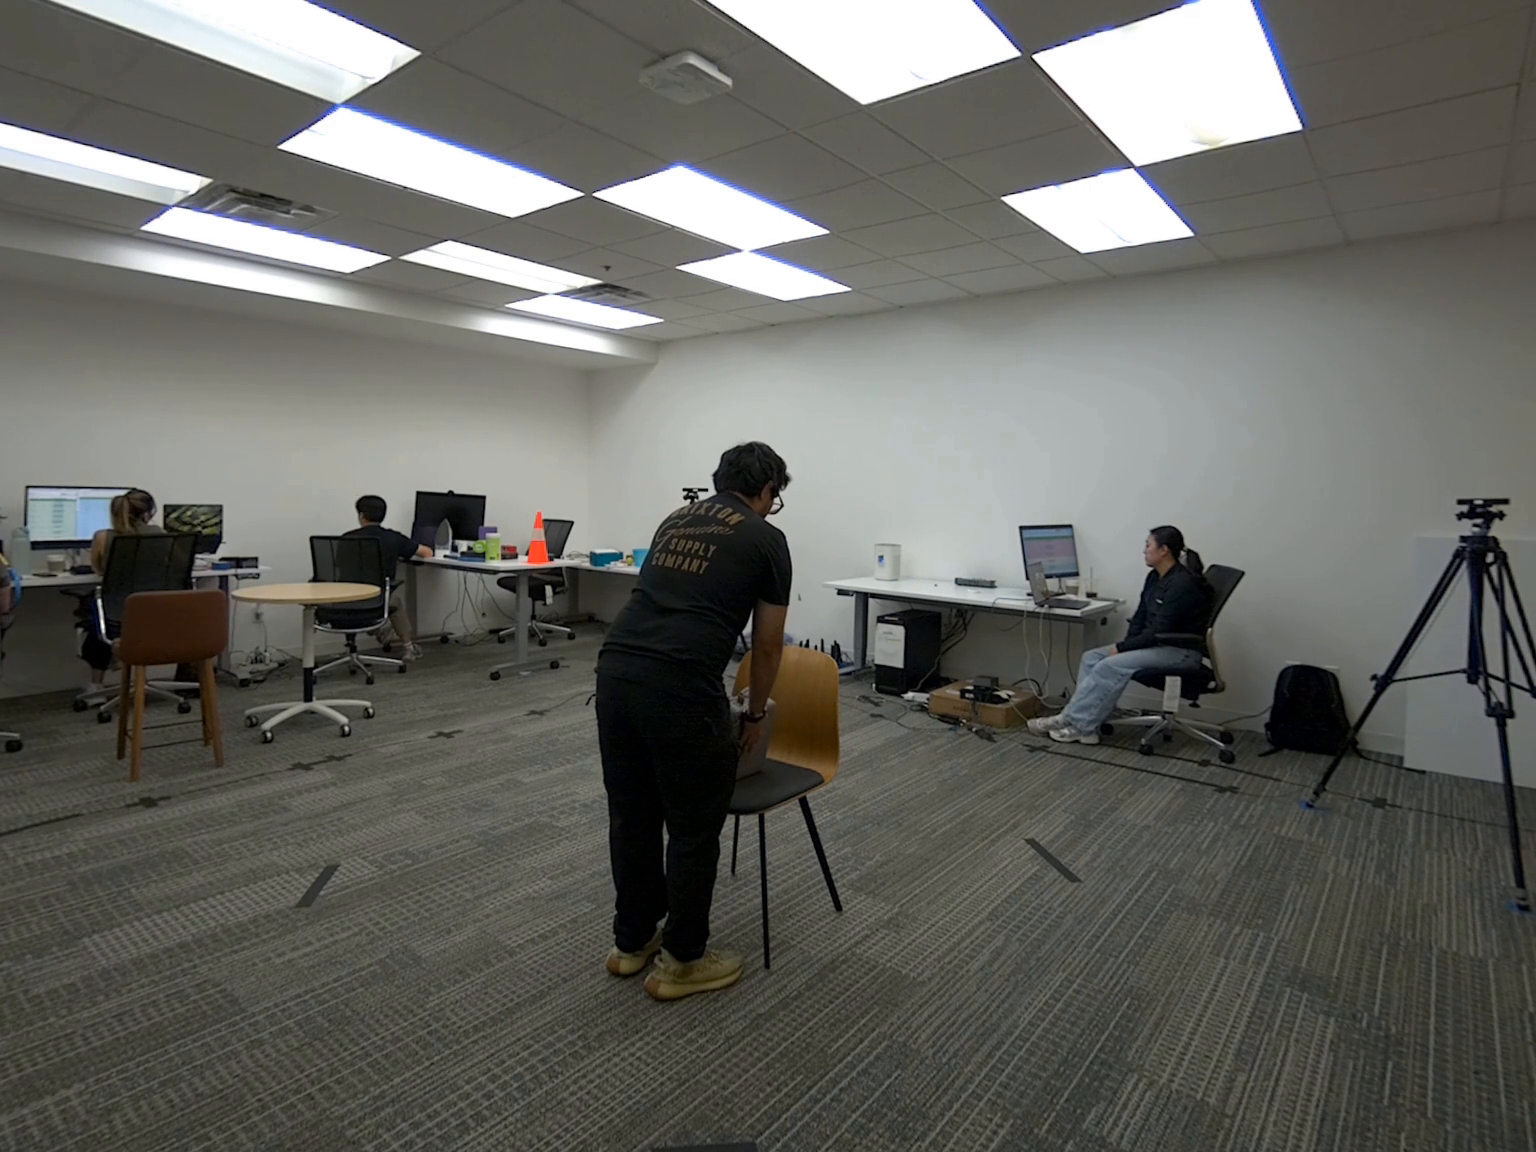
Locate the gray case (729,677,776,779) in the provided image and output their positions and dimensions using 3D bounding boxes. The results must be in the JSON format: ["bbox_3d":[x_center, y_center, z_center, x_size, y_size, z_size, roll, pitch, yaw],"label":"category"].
[{"bbox_3d":[-0.103,0.510,2.709,0.108,0.259,0.249,18,9,30],"label":"gray case"}]
